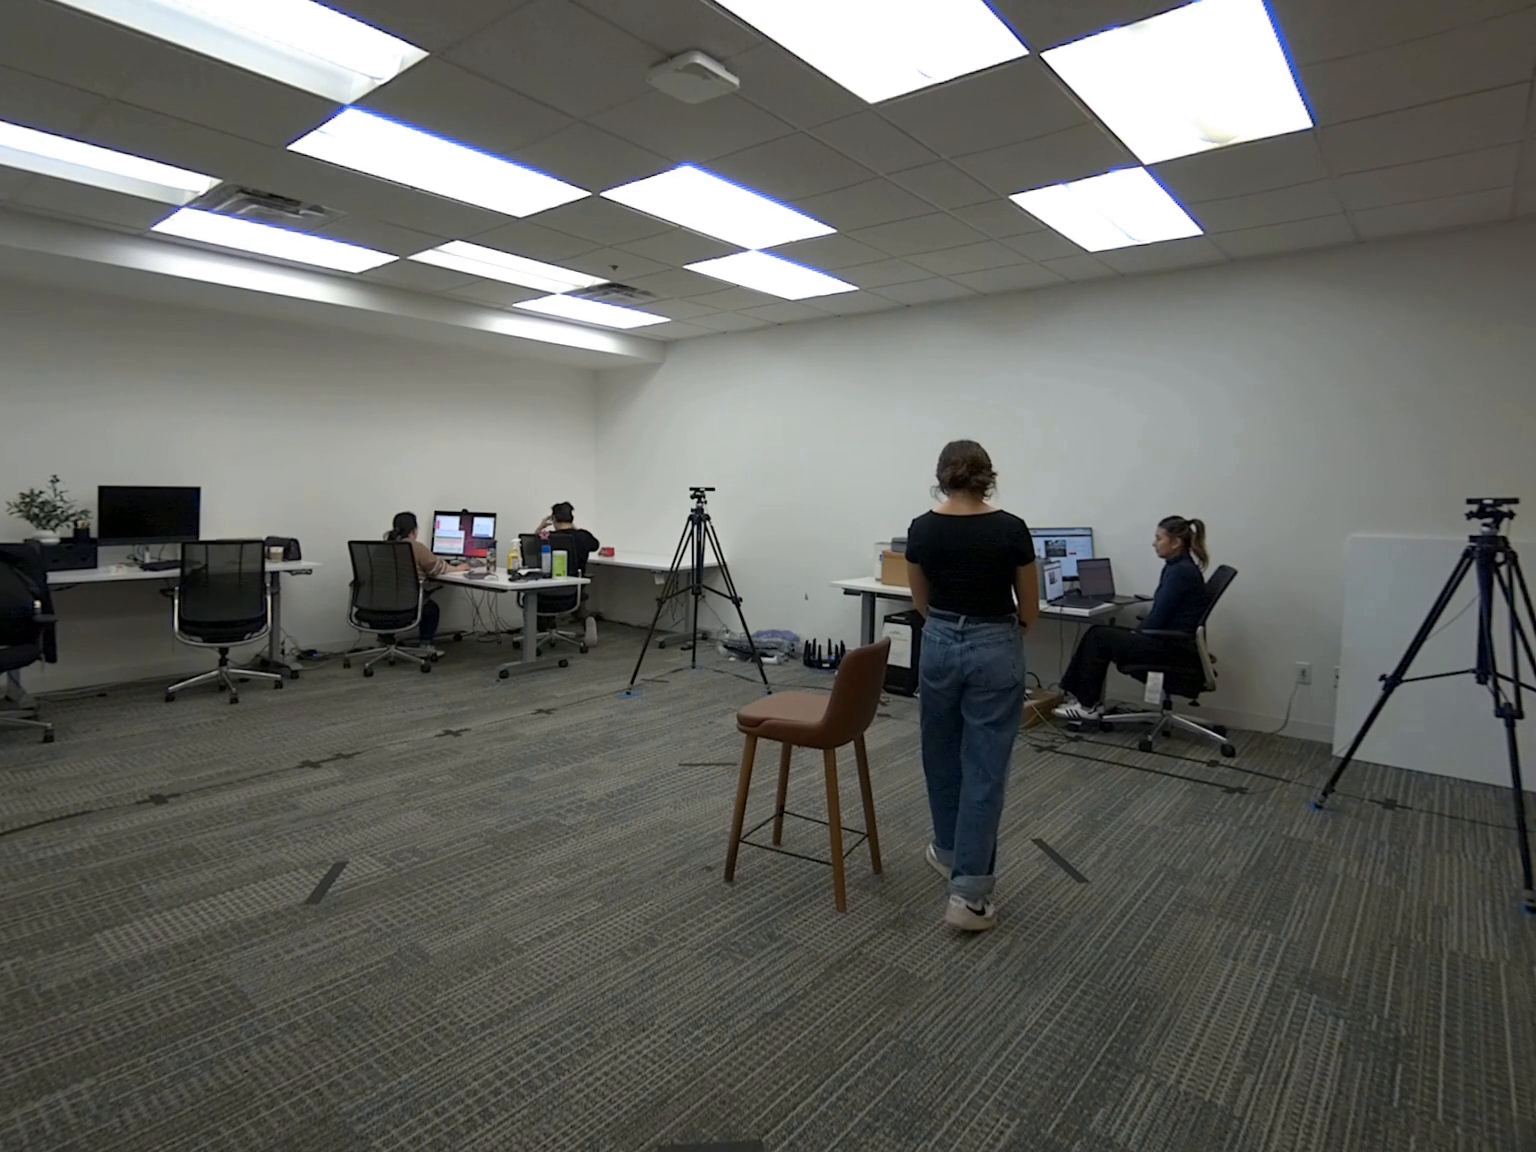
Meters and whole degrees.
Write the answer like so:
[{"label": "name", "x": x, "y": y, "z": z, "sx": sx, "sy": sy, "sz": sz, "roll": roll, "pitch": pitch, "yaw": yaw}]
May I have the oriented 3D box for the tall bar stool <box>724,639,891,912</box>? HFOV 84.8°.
[{"label": "tall bar stool", "x": 0.147, "y": 0.642, "z": 3.050, "sx": 0.482, "sy": 0.886, "sz": 0.444, "roll": 6, "pitch": 5, "yaw": 30}]
